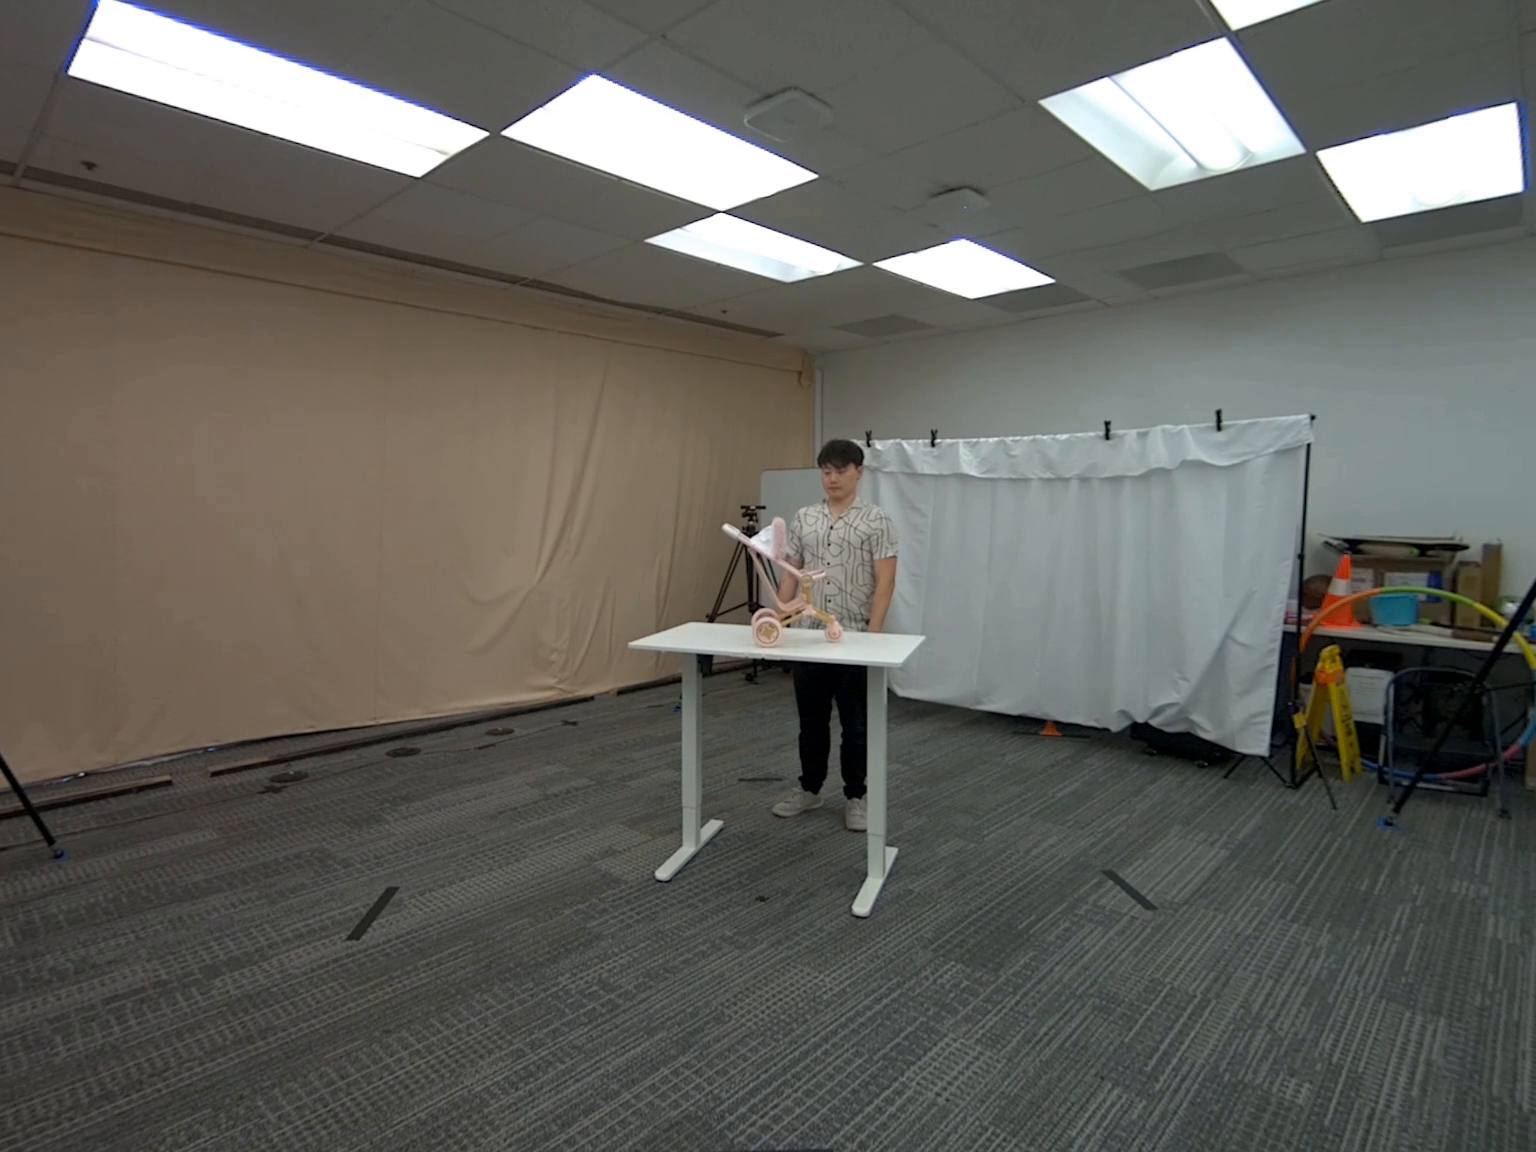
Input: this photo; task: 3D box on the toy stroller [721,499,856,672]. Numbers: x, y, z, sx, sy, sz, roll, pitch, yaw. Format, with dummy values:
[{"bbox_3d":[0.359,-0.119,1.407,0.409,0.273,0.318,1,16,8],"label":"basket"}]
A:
[{"bbox_3d":[0.071,0.021,3.136,0.343,0.533,0.281,-15,4,4],"label":"toy stroller"}]
